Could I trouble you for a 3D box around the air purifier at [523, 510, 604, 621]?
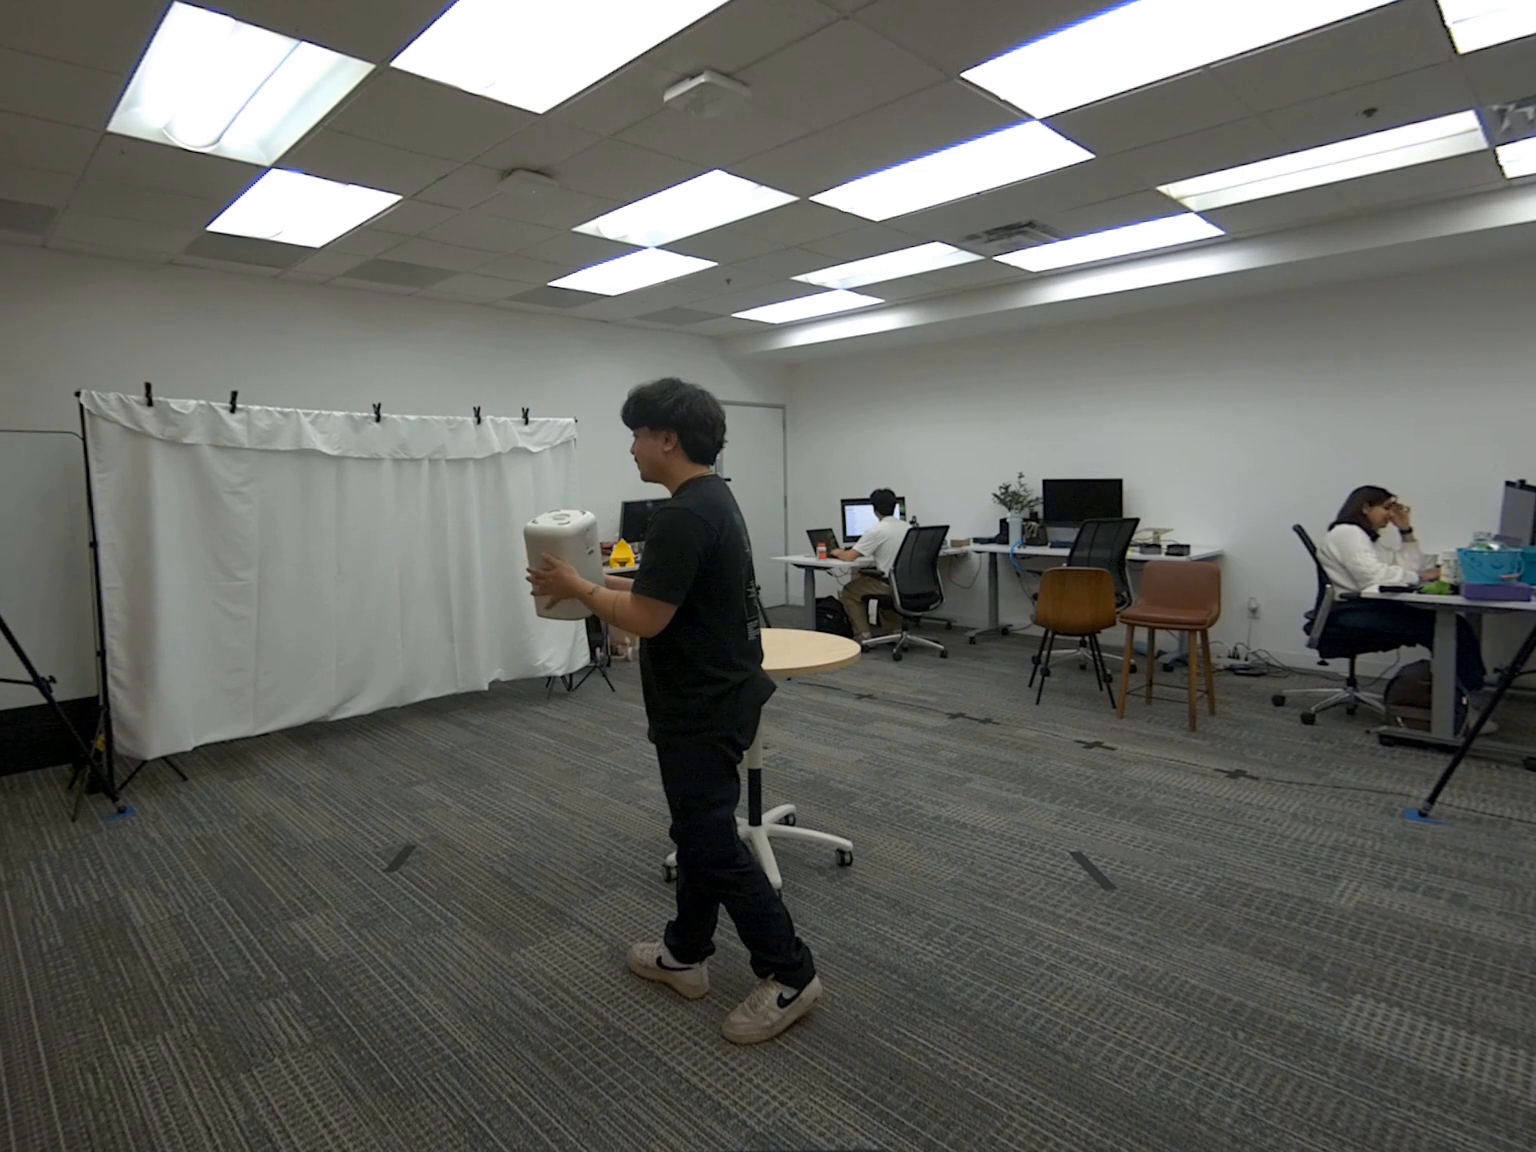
[{"bbox_3d":[-0.547,-0.038,2.332,0.175,0.260,0.171,3,21,19],"label":"air purifier"}]
